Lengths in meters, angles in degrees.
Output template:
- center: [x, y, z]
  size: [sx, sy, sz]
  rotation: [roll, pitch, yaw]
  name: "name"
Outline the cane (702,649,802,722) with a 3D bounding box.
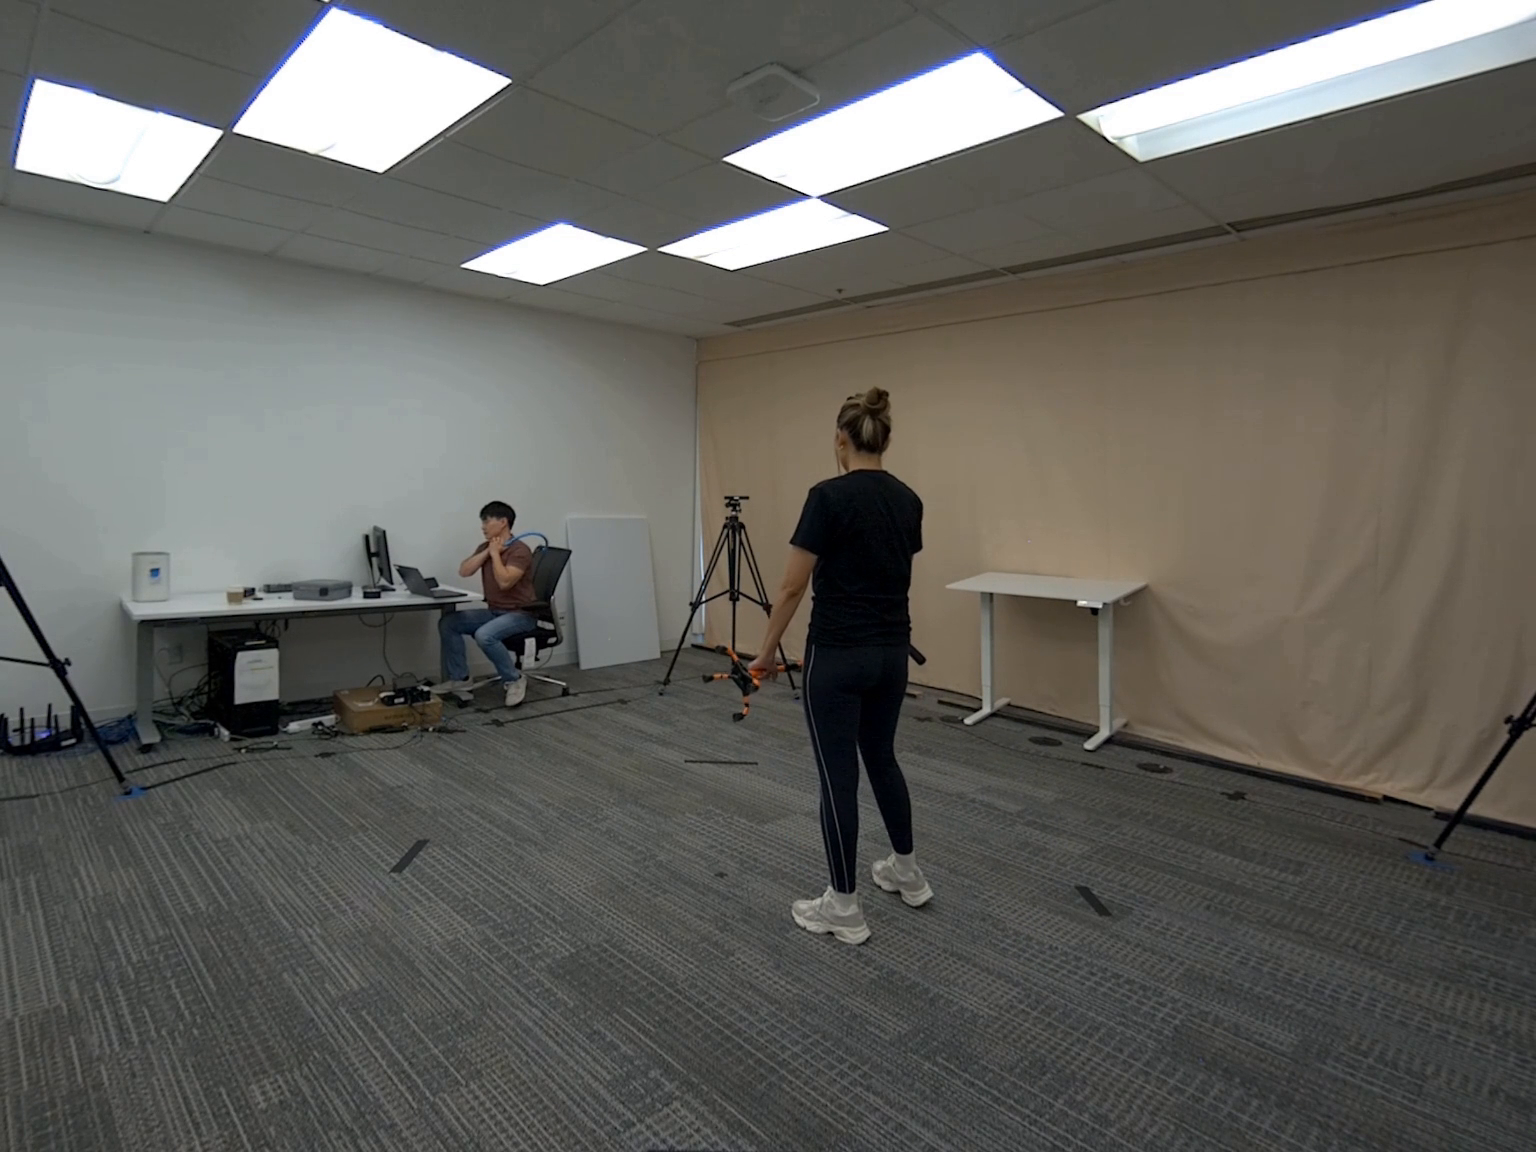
- center: [0.198, 0.304, 2.929]
  size: [0.888, 0.150, 0.213]
  rotation: [-5, 43, -40]
  name: "cane"
